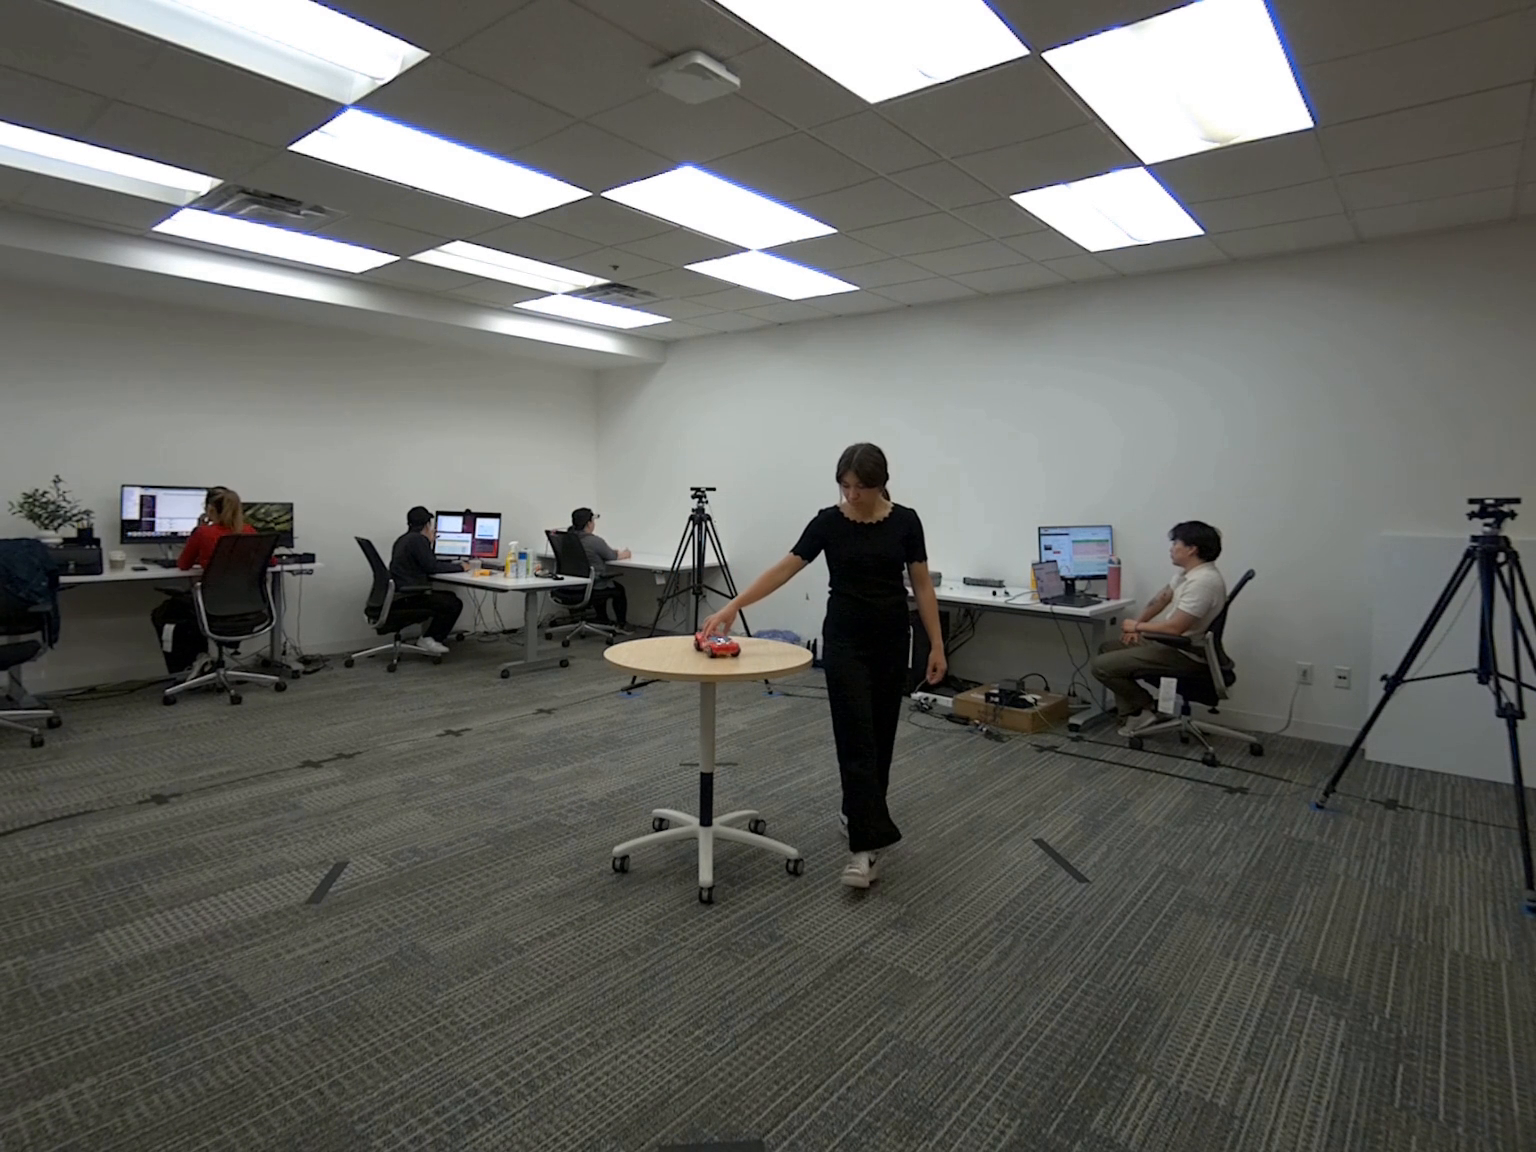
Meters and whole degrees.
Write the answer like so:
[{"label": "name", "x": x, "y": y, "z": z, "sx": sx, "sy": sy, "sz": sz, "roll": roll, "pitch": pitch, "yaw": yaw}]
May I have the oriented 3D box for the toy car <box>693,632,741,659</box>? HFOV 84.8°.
[{"label": "toy car", "x": -0.207, "y": 0.249, "z": 3.136, "sx": 0.128, "sy": 0.082, "sz": 0.263, "roll": -1, "pitch": 15, "yaw": -20}]
